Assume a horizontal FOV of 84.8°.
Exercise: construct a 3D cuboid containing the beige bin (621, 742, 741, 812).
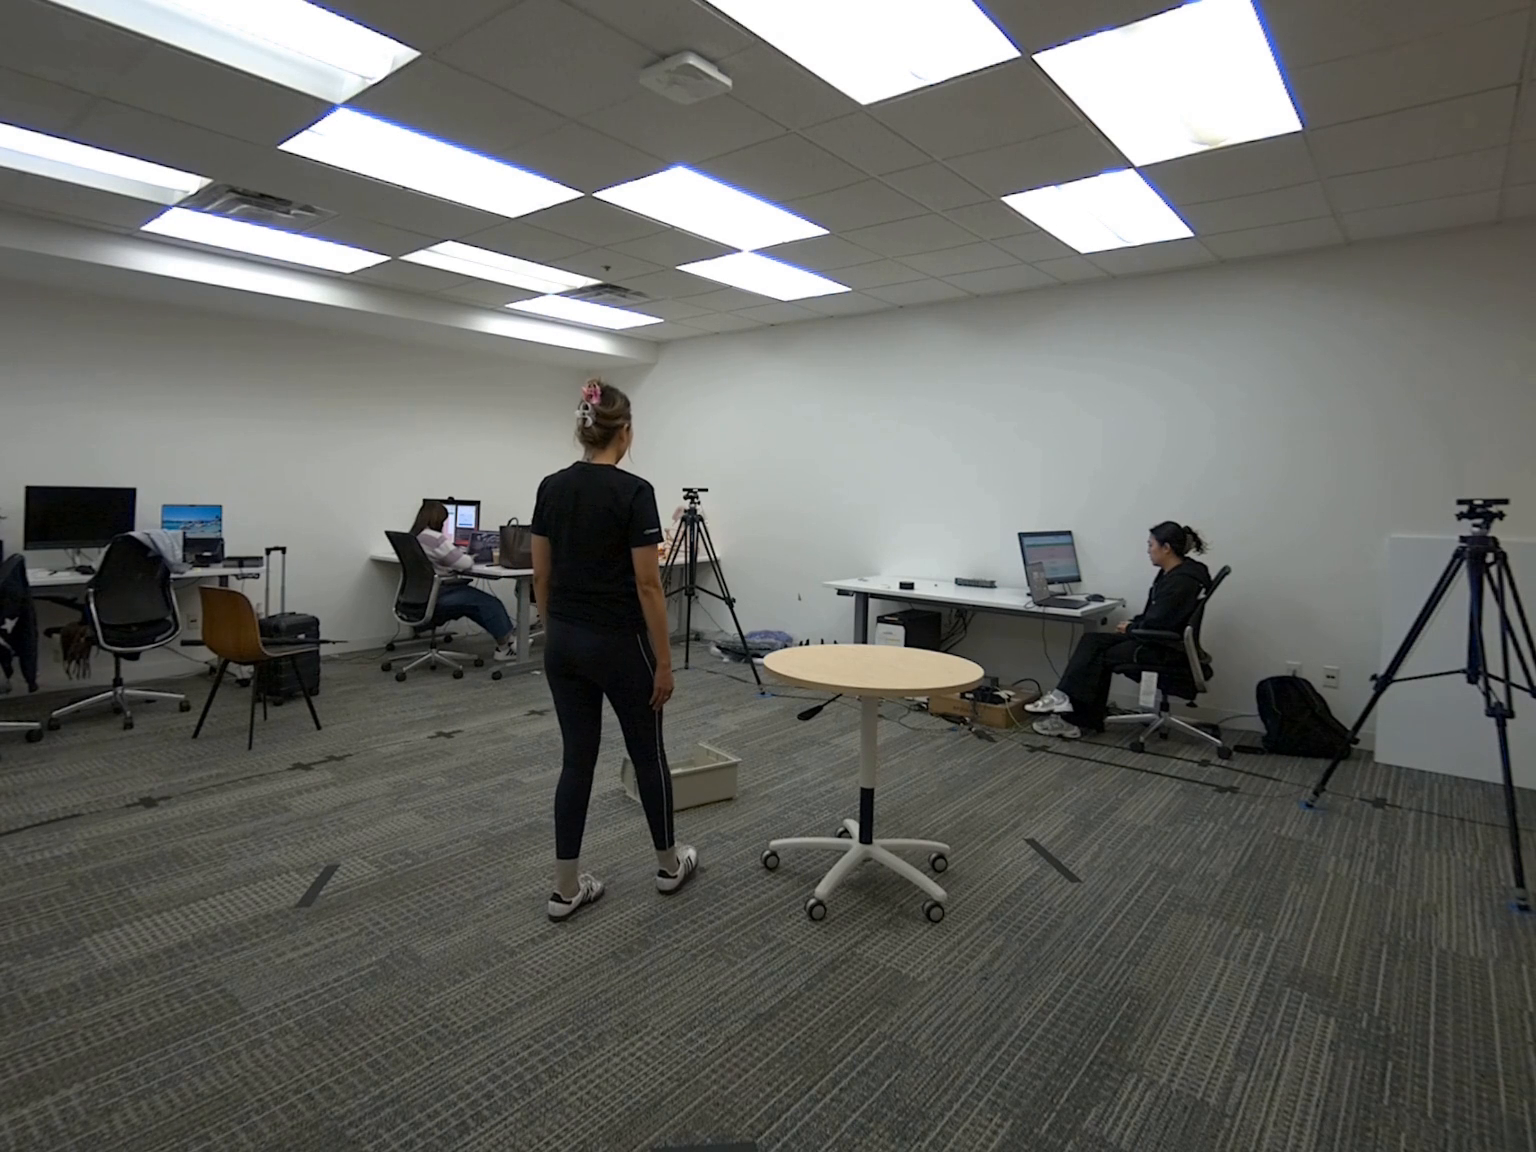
[{"bbox_3d":[-0.409,0.907,3.869,0.410,0.188,0.390,-3,7,-37],"label":"beige bin"}]
